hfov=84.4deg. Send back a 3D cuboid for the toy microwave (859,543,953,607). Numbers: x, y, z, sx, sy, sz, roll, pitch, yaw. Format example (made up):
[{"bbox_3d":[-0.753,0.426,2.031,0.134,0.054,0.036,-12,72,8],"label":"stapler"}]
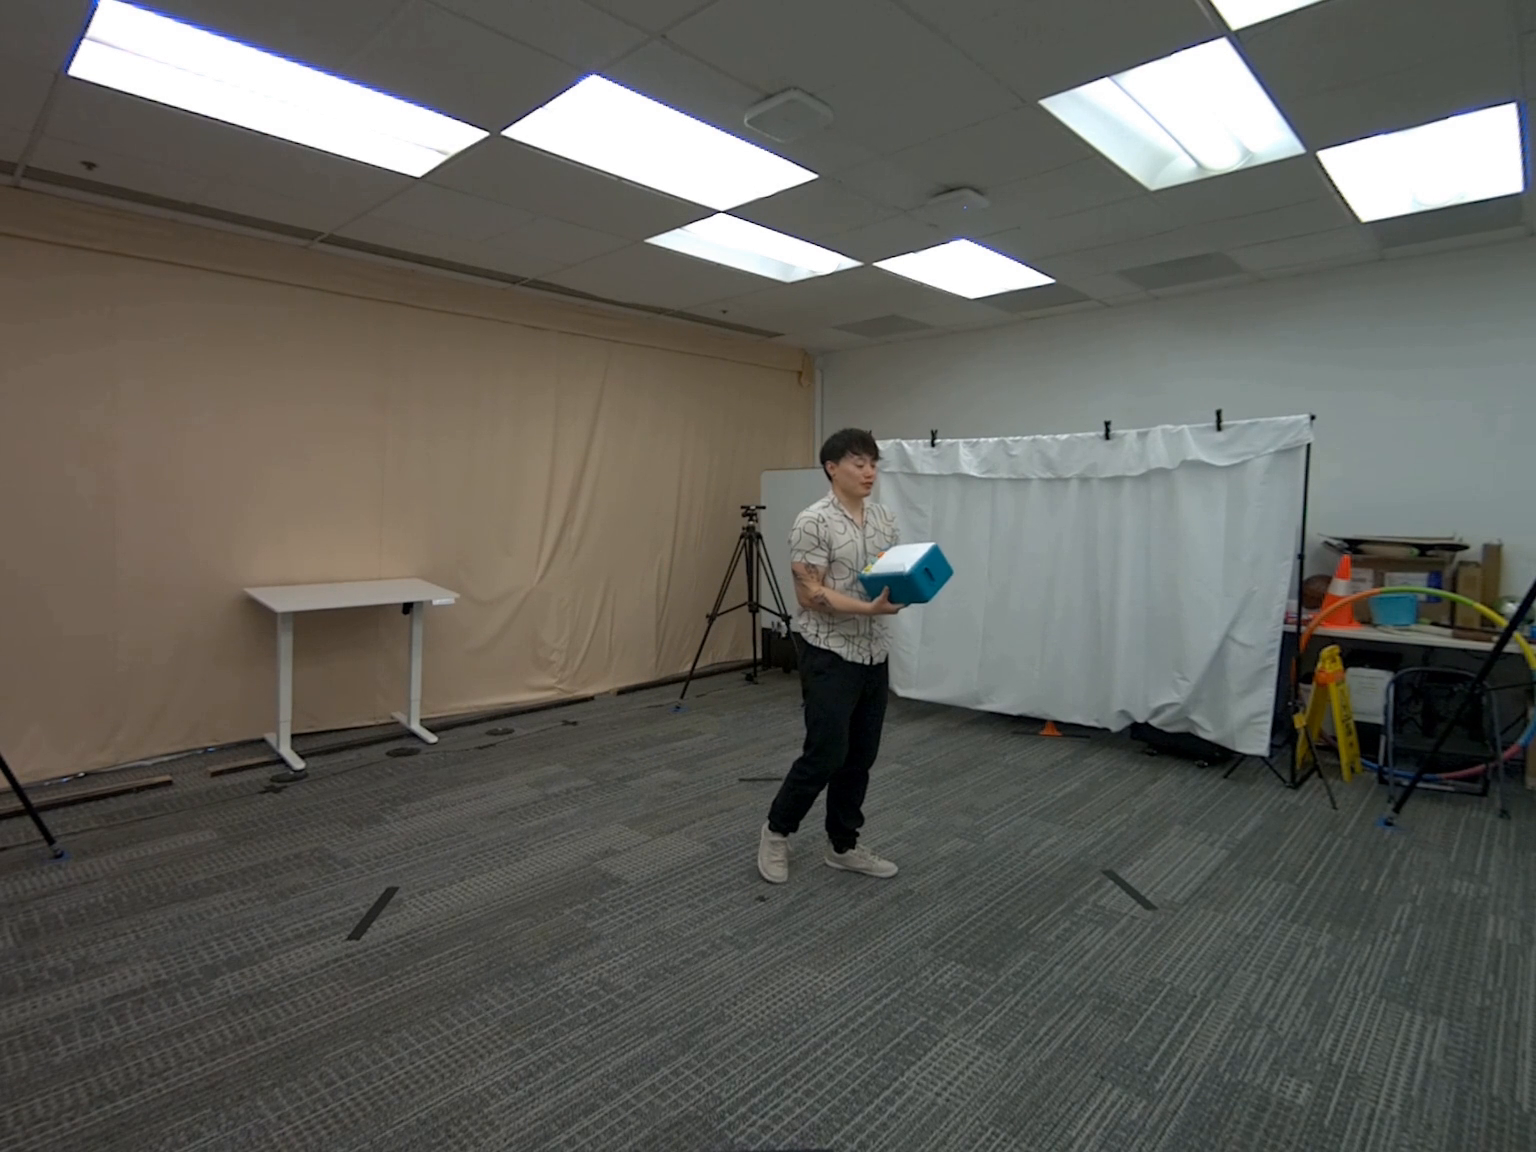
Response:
[{"bbox_3d":[0.461,-0.013,2.907,0.182,0.150,0.294,-43,19,-27],"label":"toy microwave"}]
